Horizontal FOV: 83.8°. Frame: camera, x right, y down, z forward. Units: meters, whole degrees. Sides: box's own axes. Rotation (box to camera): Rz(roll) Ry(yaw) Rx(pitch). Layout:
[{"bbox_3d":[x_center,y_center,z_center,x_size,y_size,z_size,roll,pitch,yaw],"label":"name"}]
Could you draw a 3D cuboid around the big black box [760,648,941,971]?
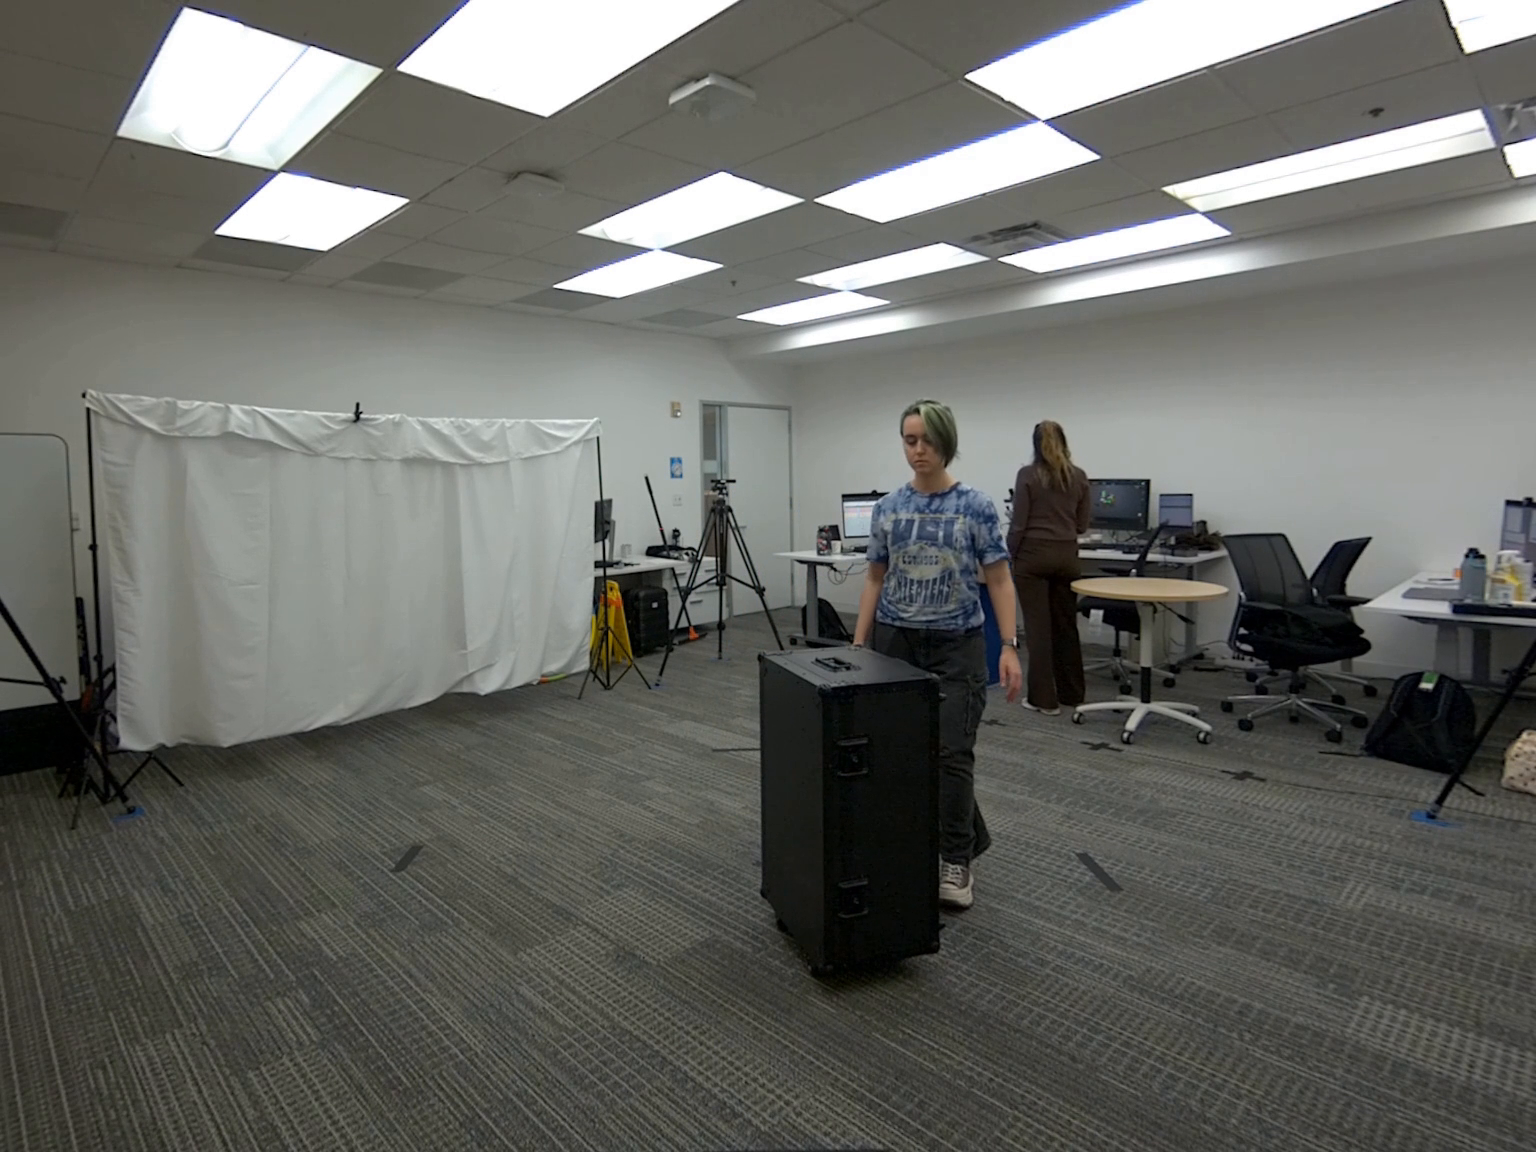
[{"bbox_3d":[0.234,0.685,2.540,0.389,0.859,0.532,-2,4,-20],"label":"big black box"}]
